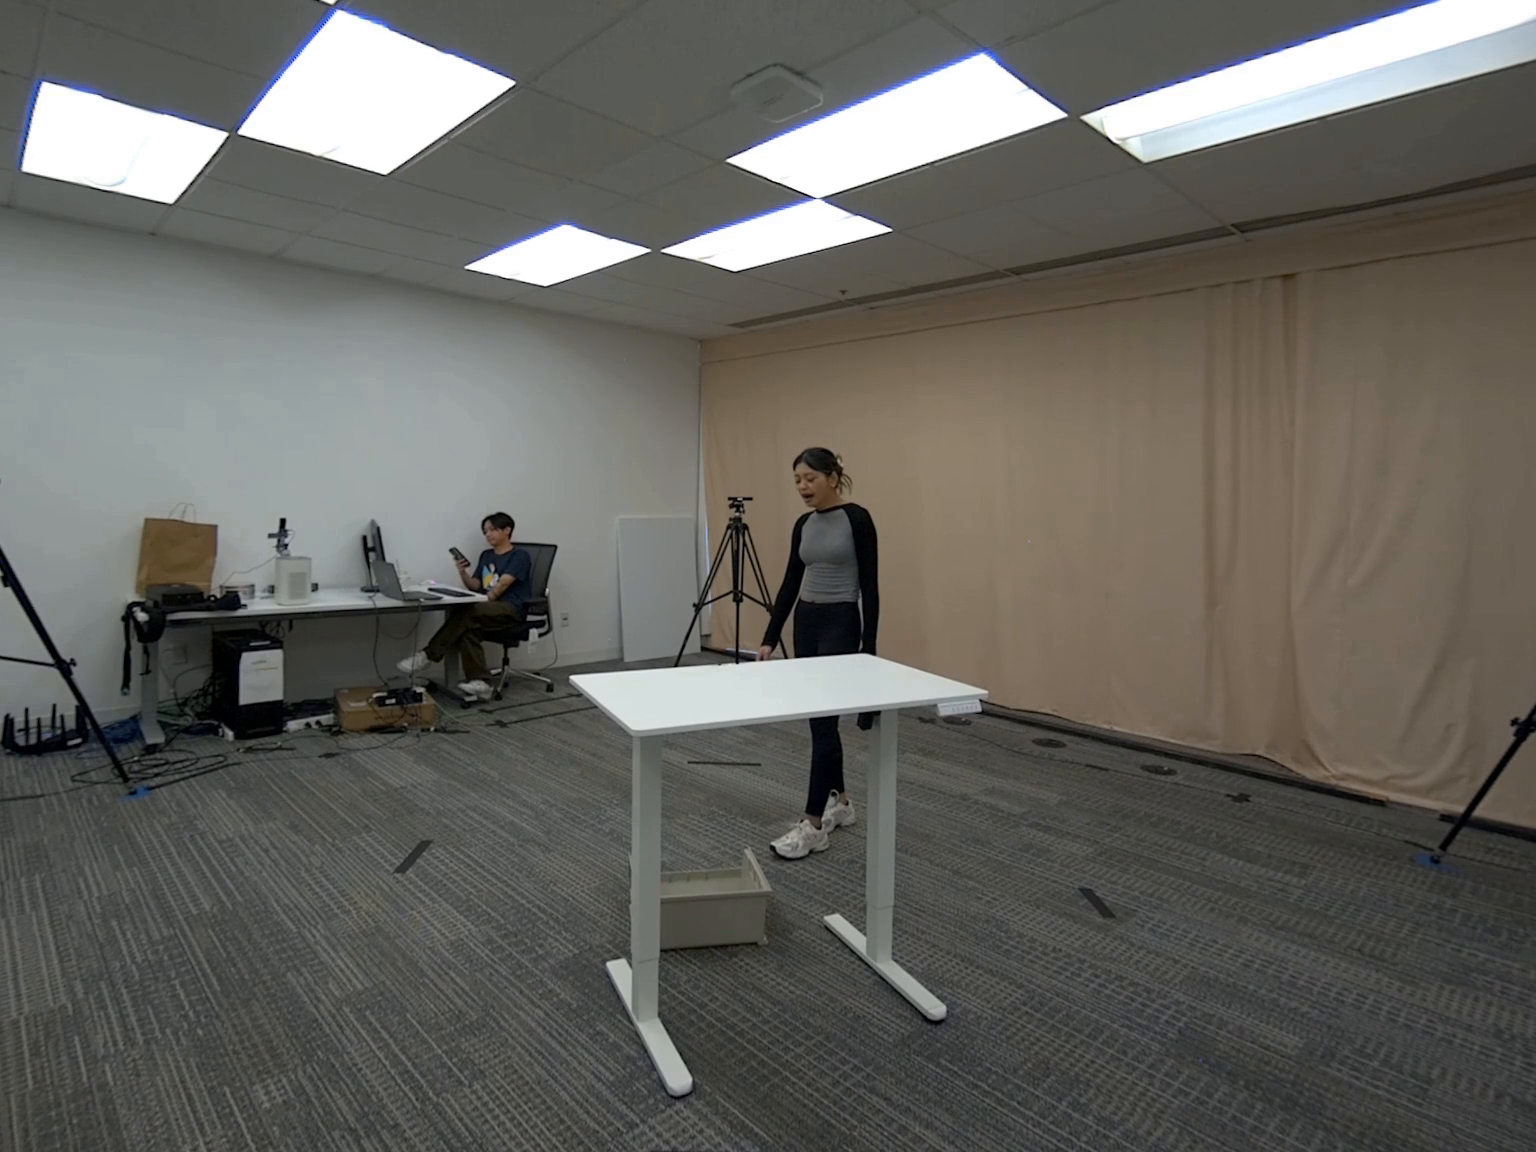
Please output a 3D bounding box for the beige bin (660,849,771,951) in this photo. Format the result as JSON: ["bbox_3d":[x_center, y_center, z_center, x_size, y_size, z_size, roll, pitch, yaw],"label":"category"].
[{"bbox_3d":[-0.242,1.046,2.758,0.418,0.188,0.382,1,5,-13],"label":"beige bin"}]
